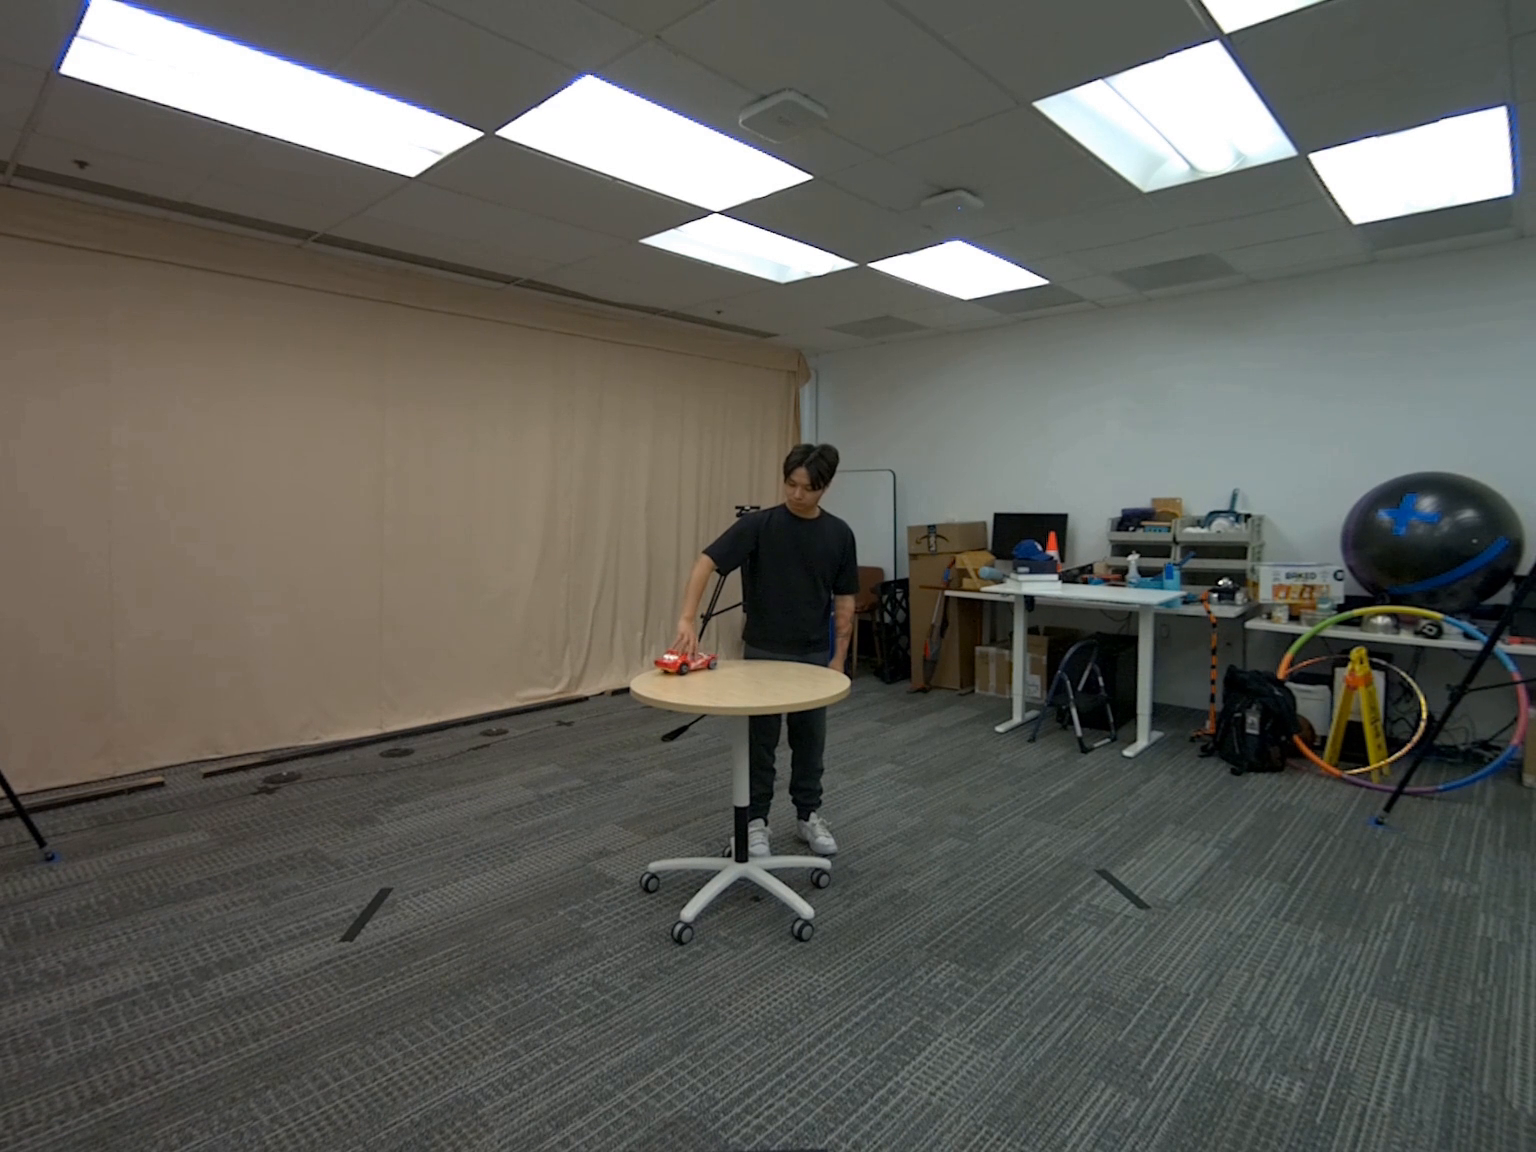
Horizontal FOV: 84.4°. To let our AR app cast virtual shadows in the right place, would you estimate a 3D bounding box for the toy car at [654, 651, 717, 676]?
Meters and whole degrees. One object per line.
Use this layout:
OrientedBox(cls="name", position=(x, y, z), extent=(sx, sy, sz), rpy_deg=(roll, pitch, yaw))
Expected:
OrientedBox(cls="toy car", position=(-0.304, 0.322, 3.115), extent=(0.246, 0.083, 0.134), rpy_deg=(11, -5, -44))
